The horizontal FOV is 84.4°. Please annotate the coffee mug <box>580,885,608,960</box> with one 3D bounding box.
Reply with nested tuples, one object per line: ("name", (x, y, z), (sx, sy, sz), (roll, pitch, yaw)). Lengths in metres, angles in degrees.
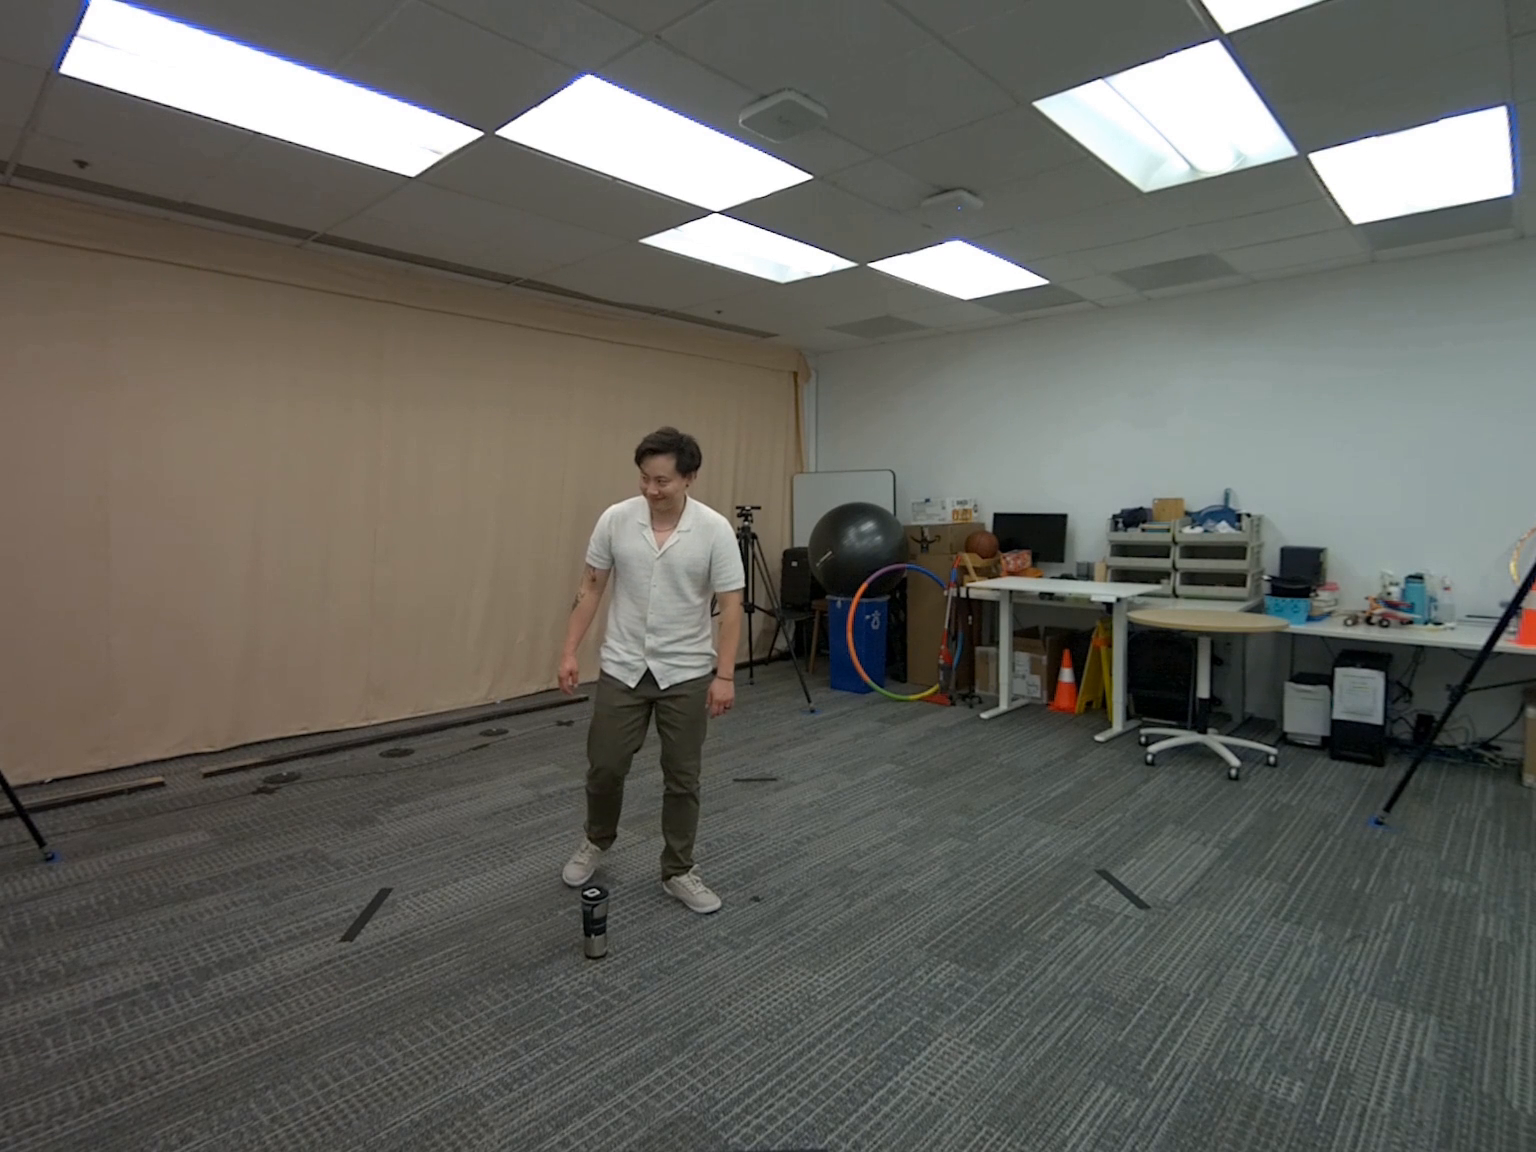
("coffee mug", (-0.549, 1.082, 2.591), (0.090, 0.203, 0.118), (5, 3, 31))
